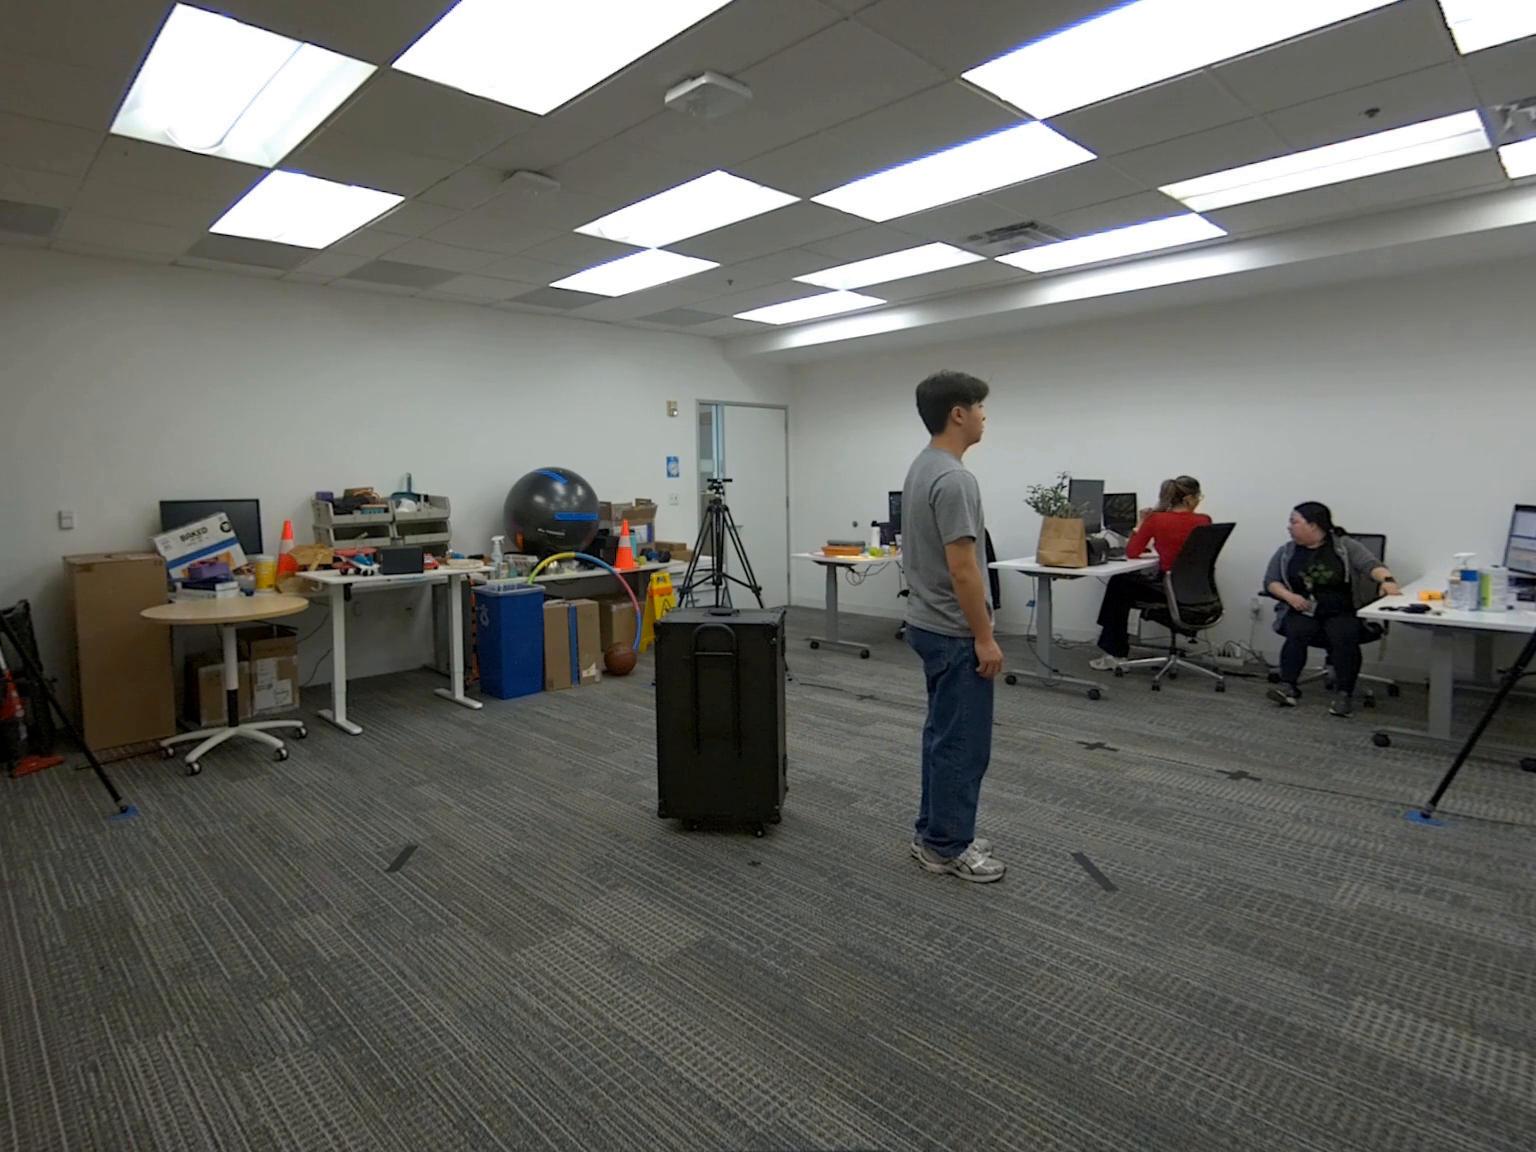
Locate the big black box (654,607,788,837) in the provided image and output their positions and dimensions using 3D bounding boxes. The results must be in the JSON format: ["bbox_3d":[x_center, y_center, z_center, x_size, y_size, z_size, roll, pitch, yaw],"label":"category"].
[{"bbox_3d":[-0.173,0.581,3.473,0.527,0.858,0.394,0,4,10],"label":"big black box"}]
